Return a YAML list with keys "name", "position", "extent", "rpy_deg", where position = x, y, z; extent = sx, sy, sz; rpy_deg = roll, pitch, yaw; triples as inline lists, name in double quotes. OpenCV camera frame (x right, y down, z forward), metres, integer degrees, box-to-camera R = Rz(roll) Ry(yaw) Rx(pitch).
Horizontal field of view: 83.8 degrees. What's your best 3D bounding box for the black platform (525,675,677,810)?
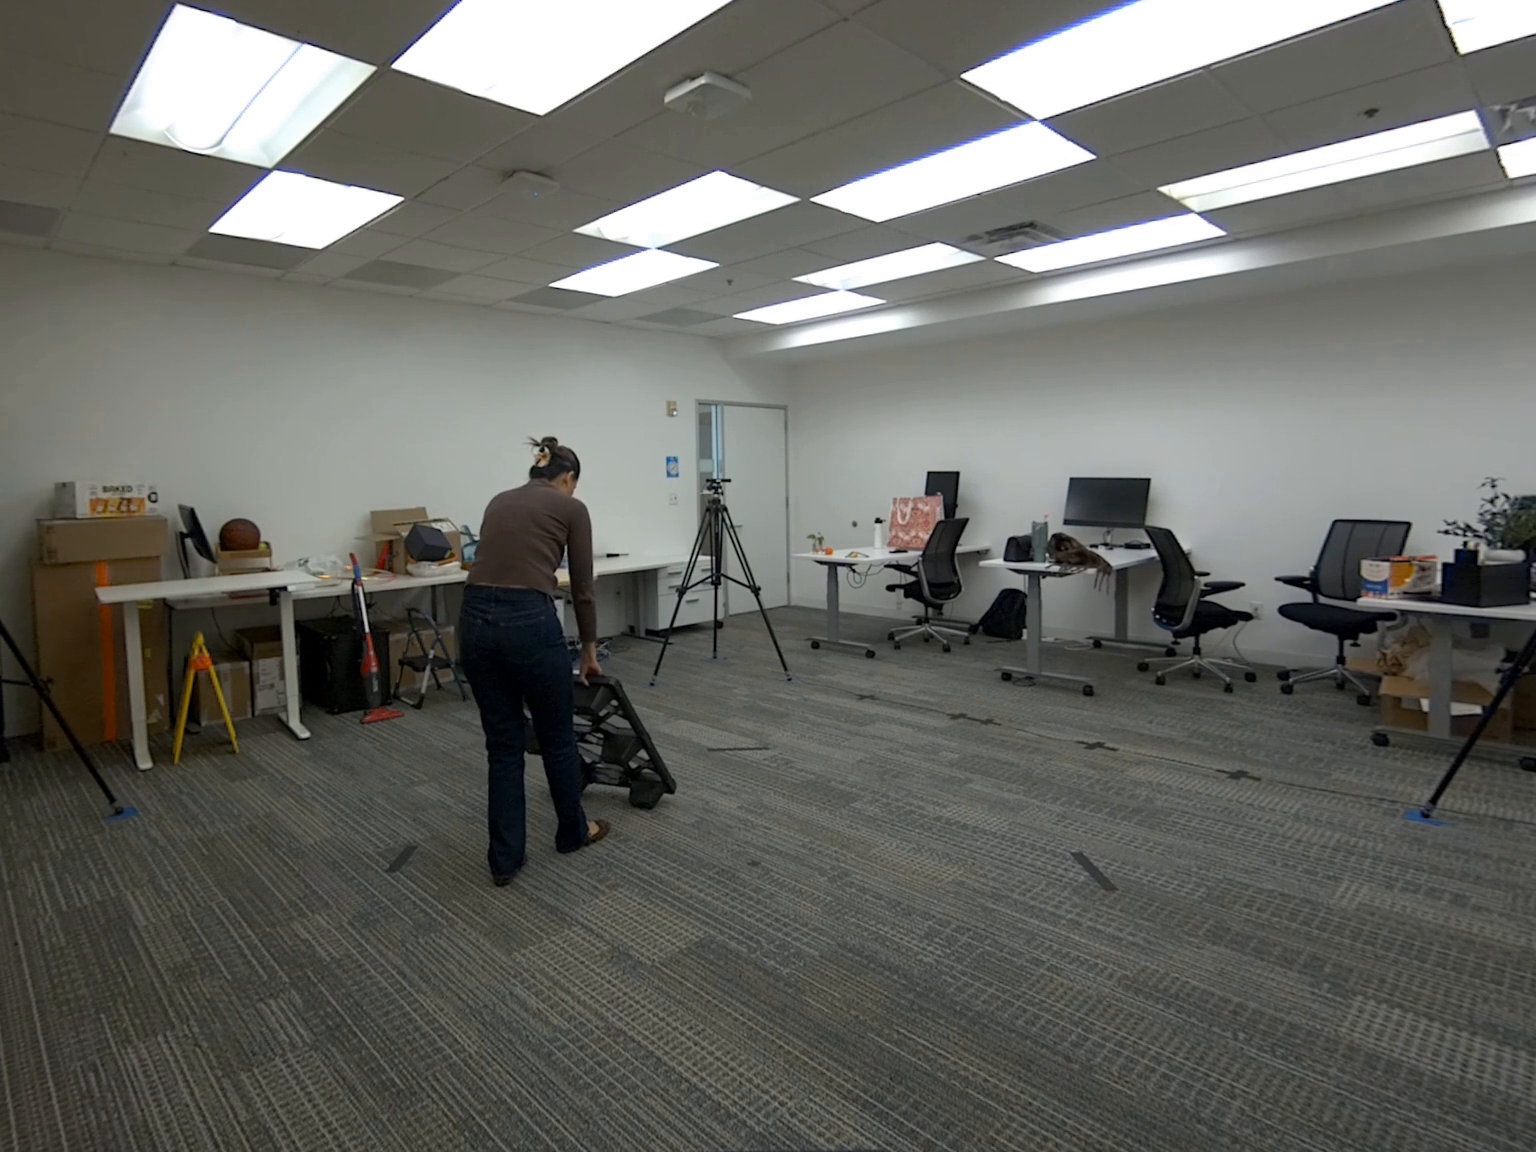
- name: "black platform"
  position: [-0.781, 0.685, 3.534]
  extent: [0.617, 0.778, 0.145]
  rpy_deg: [1, 45, 21]
